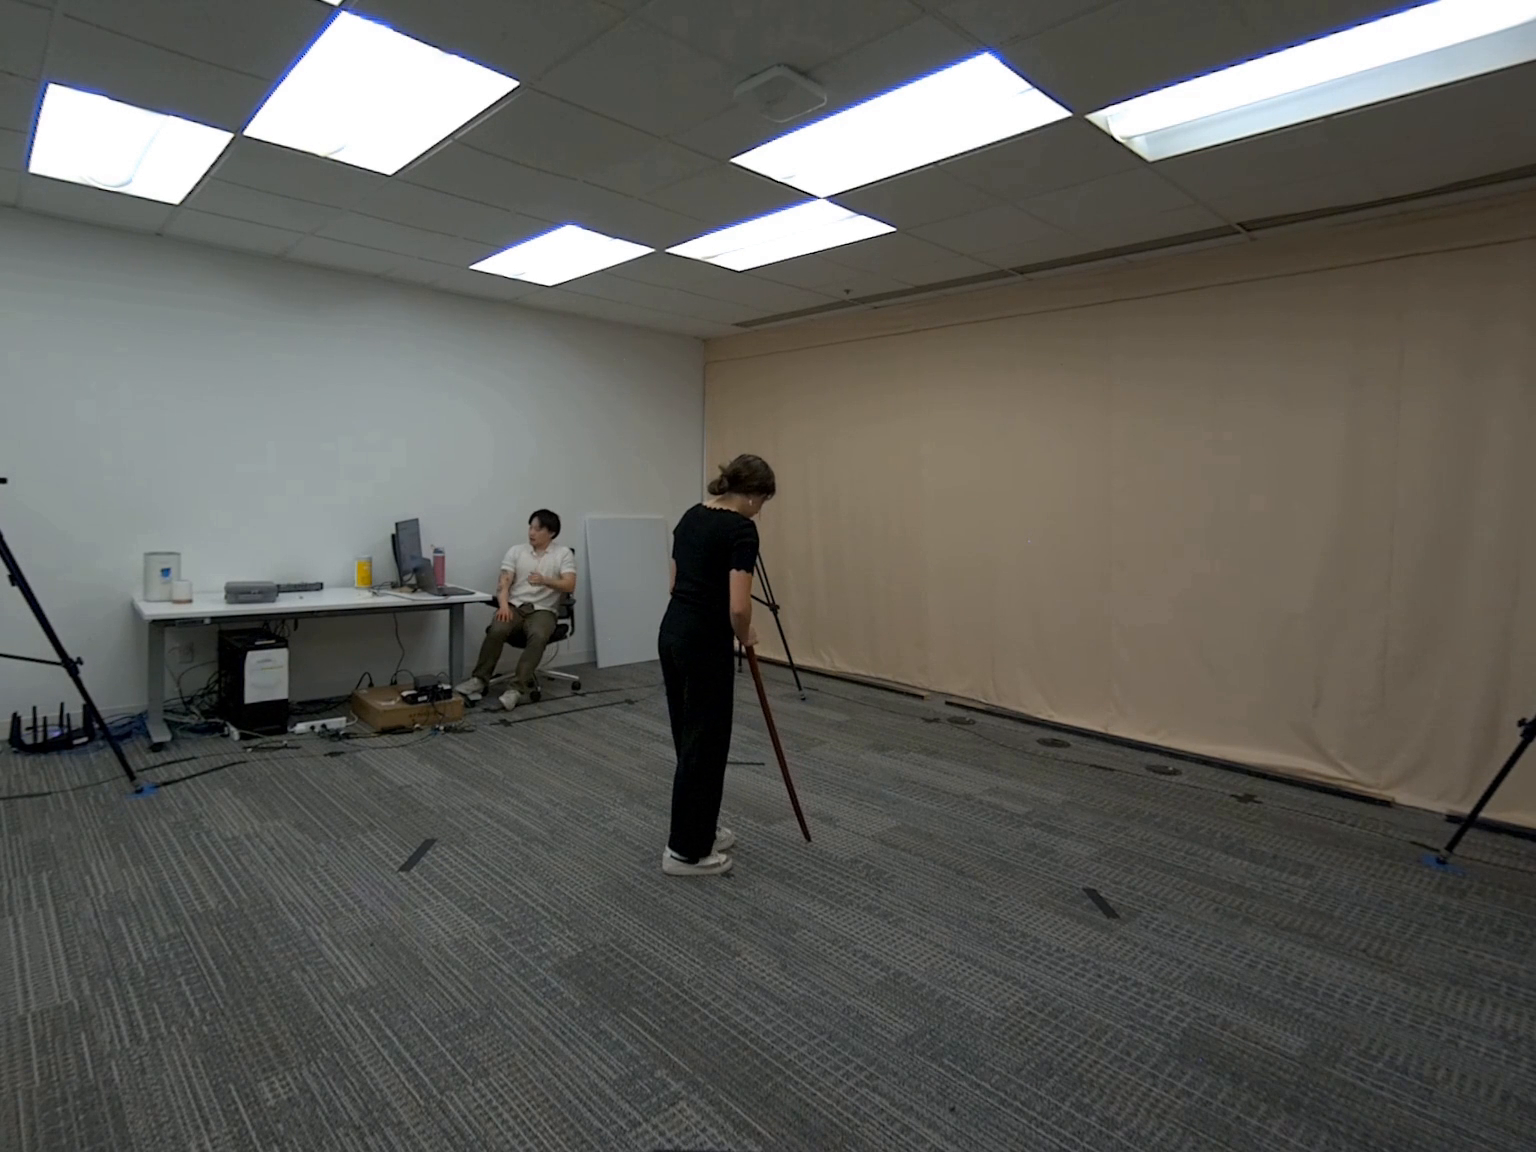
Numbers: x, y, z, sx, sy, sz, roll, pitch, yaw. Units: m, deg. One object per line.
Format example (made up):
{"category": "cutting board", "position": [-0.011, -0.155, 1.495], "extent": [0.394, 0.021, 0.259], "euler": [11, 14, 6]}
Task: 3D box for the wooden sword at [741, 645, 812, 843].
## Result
{"category": "wooden sword", "position": [0.026, 0.633, 3.312], "extent": [0.024, 1.010, 0.051], "euler": [-3, 20, 37]}
